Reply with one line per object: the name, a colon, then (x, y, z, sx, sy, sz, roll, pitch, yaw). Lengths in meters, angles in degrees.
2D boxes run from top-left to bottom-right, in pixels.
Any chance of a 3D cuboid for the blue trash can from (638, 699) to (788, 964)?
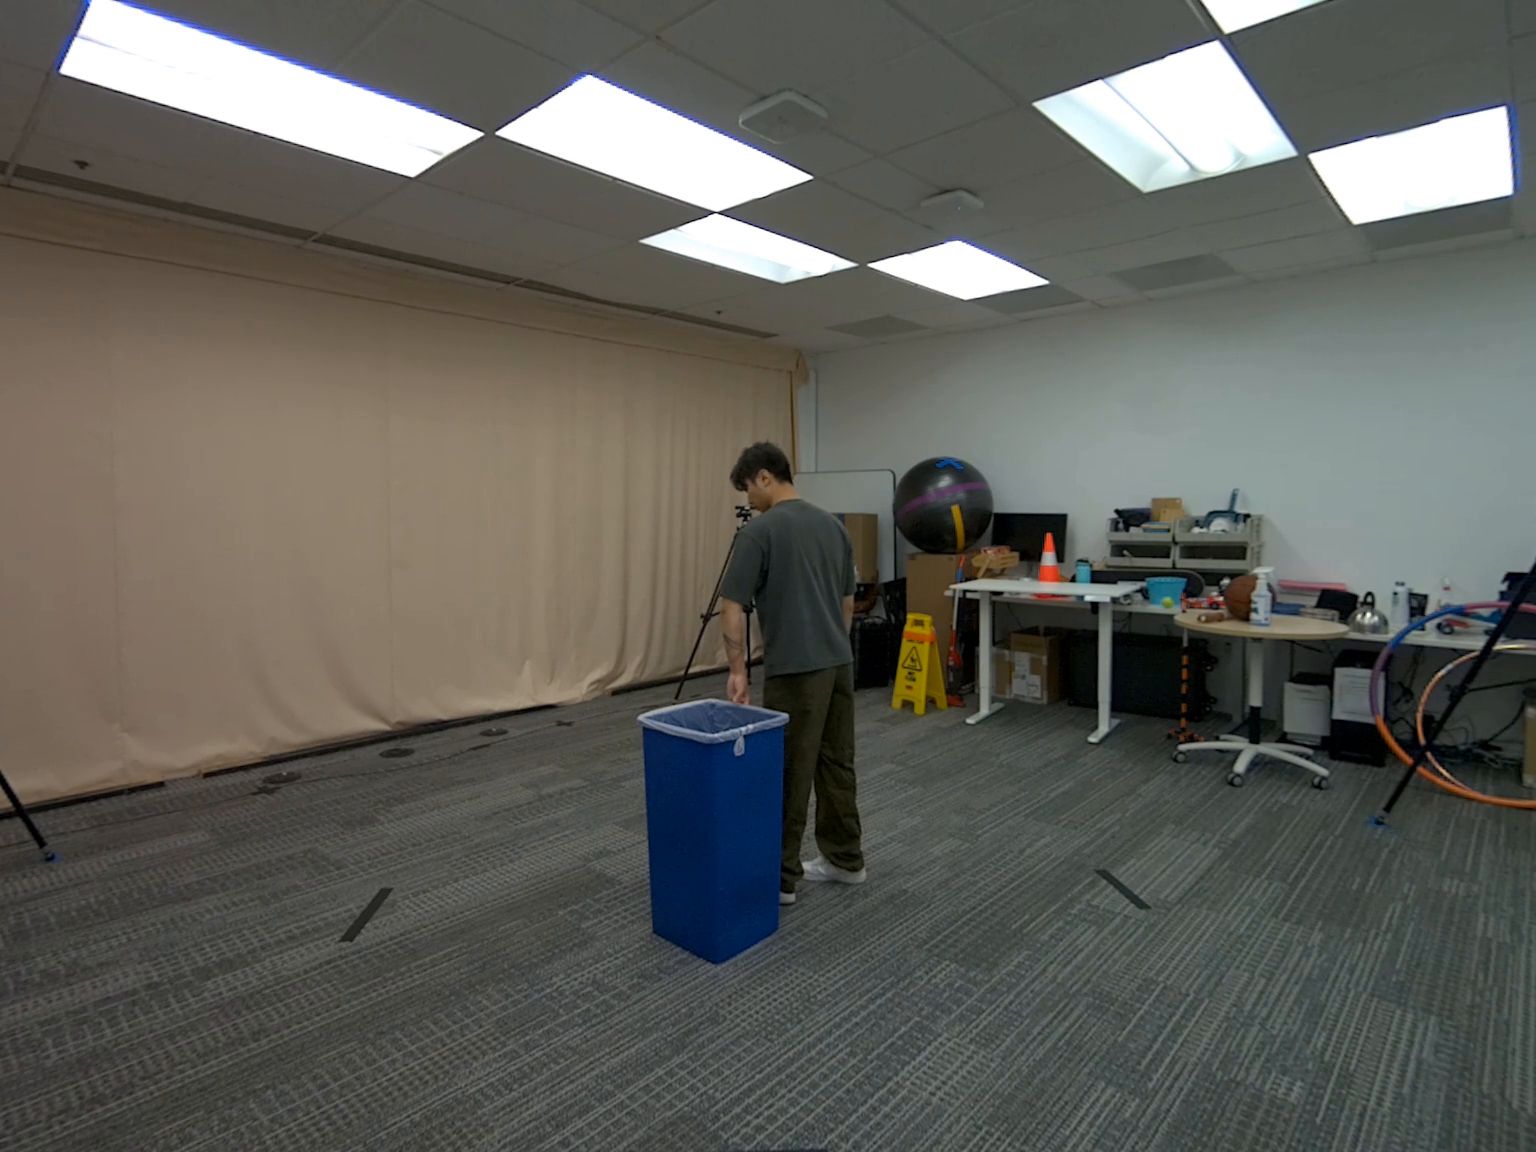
blue trash can: (-0.183, 0.808, 2.741, 0.386, 0.712, 0.366, 3, 4, 41)
